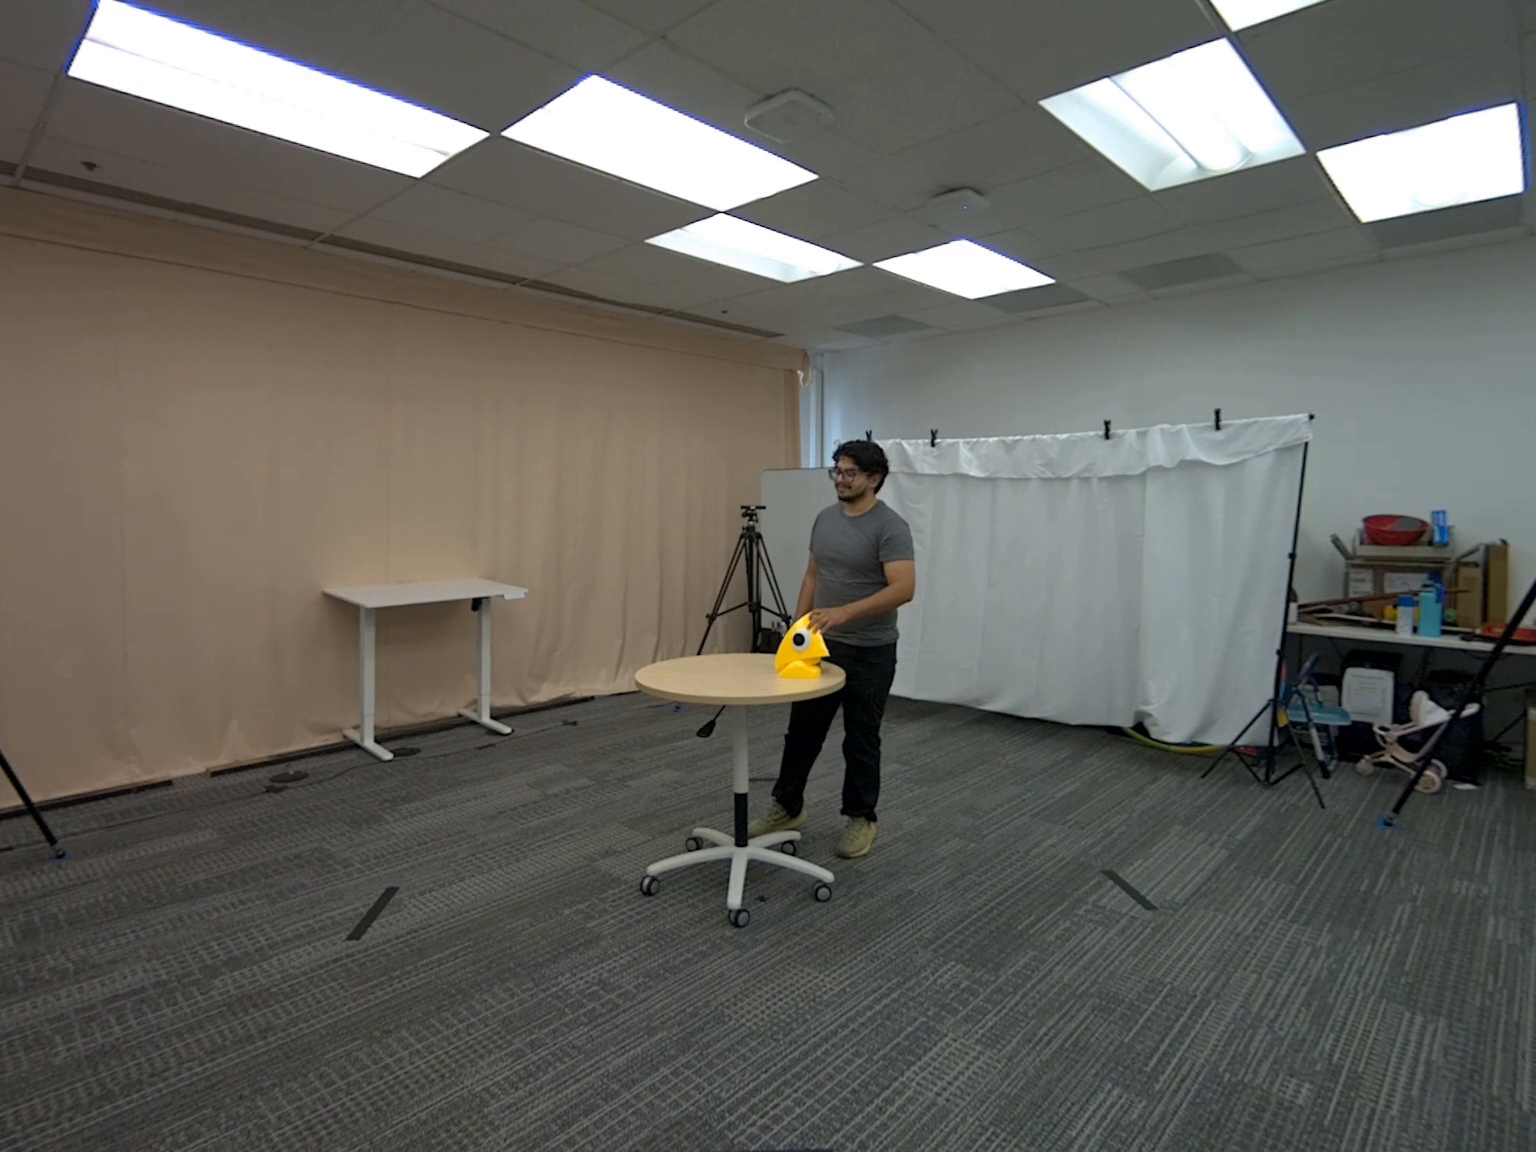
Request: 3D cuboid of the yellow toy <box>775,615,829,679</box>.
[{"bbox_3d":[0.114,0.236,3.055,0.193,0.230,0.205,-2,5,-1],"label":"yellow toy"}]
